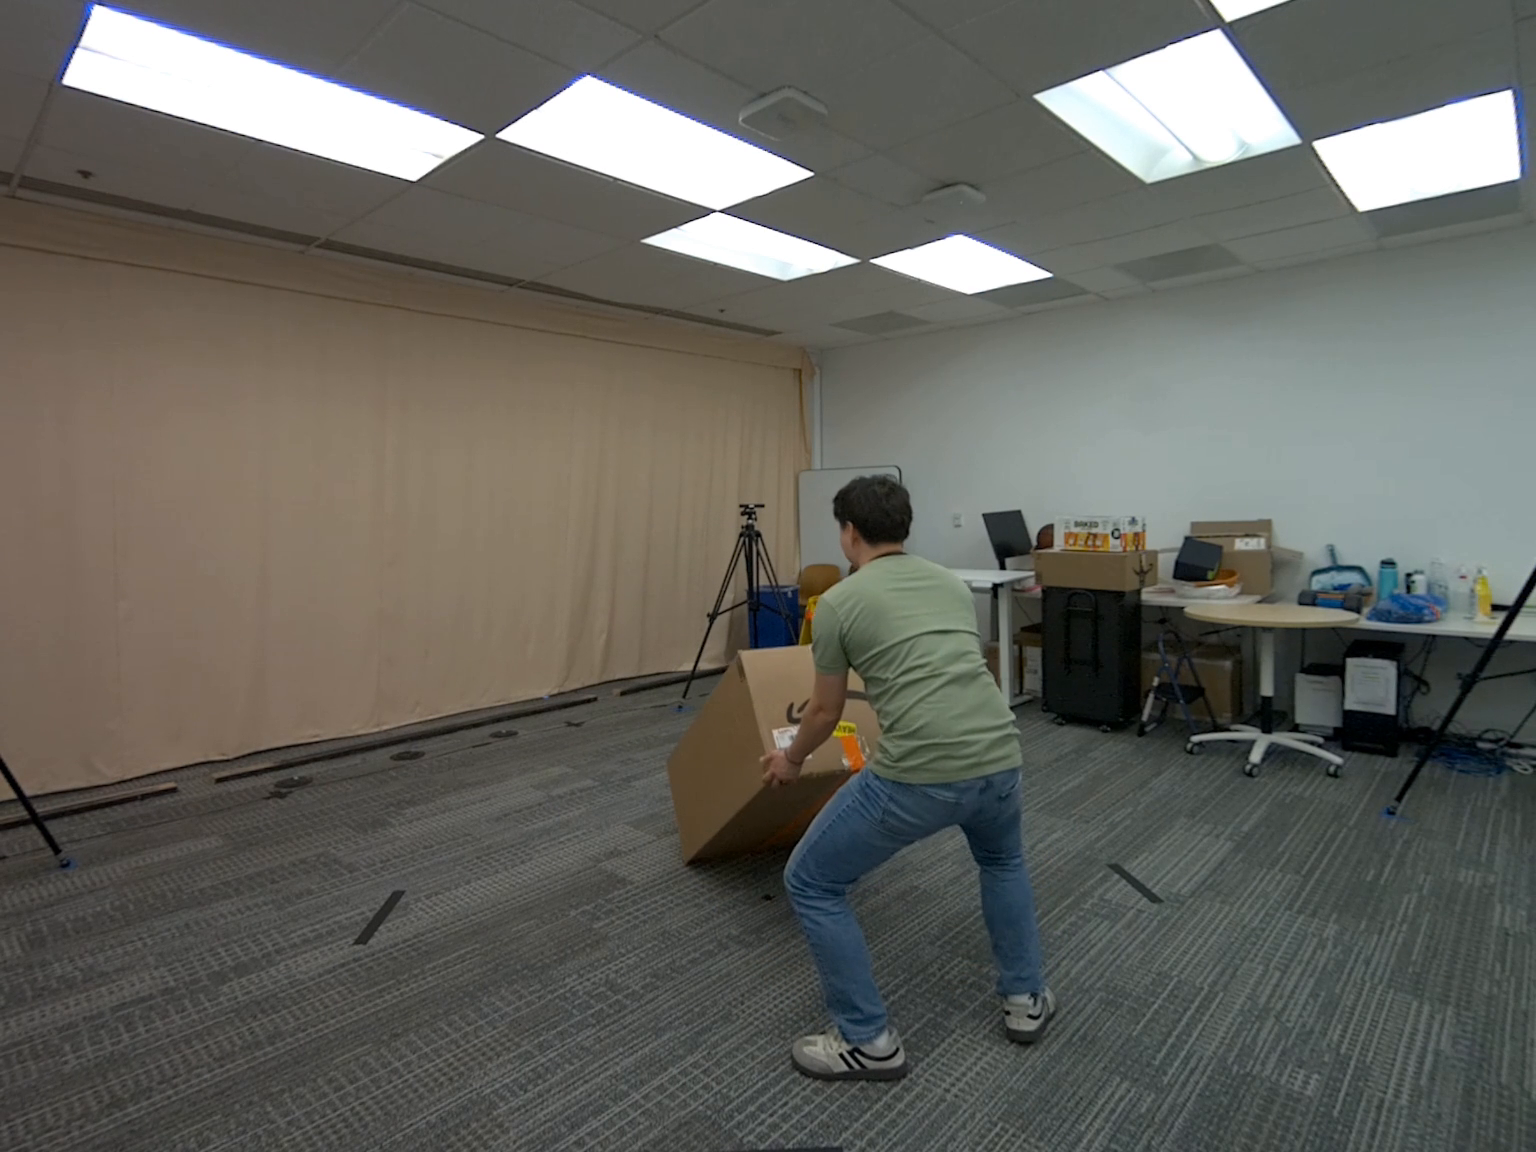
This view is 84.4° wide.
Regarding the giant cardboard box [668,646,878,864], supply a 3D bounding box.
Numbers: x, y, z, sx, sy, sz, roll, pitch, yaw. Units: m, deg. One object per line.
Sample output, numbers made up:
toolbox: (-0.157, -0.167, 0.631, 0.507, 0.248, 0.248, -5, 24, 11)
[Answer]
giant cardboard box: (0.056, 0.664, 3.063, 0.565, 0.436, 1.025, -2, -31, -23)
